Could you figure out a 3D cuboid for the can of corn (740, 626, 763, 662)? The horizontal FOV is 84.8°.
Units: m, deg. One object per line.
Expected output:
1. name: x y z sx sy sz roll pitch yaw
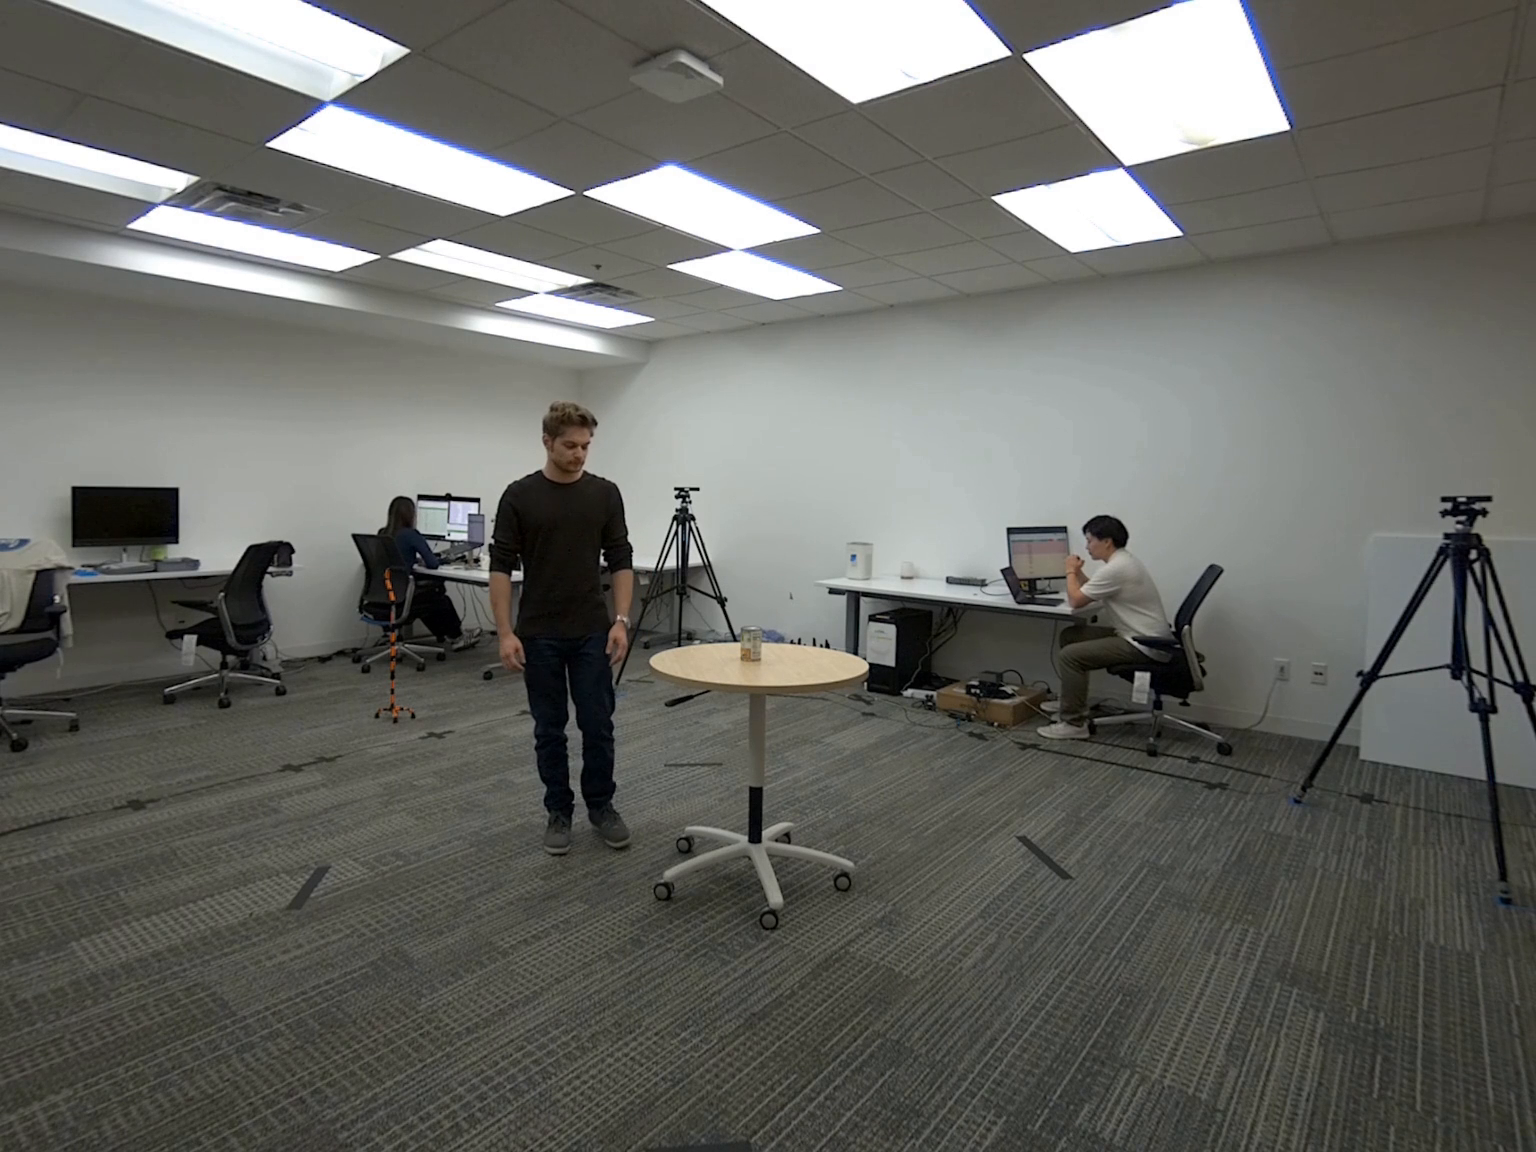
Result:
1. can of corn: -0.065 0.237 3.015 0.074 0.110 0.074 1 5 -2
